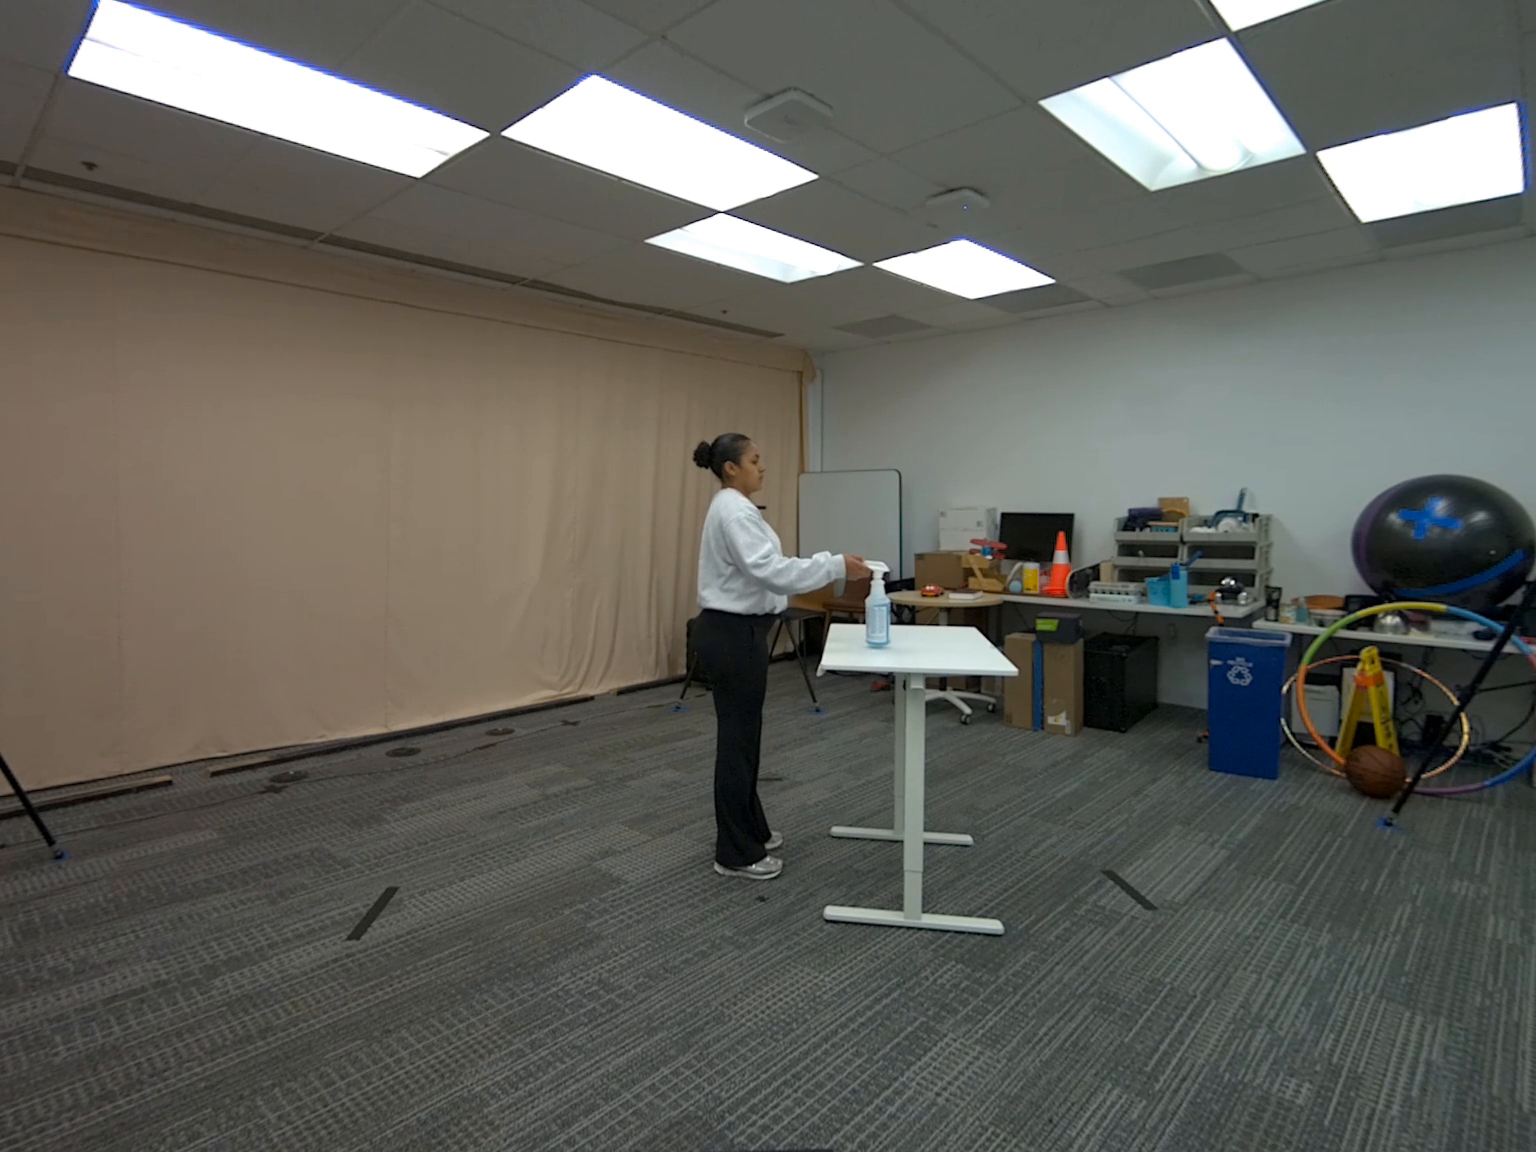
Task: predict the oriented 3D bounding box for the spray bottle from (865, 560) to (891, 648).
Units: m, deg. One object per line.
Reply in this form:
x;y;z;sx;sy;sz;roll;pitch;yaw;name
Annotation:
0.389;0.096;2.985;0.093;0.296;0.084;4;10;43;spray bottle
